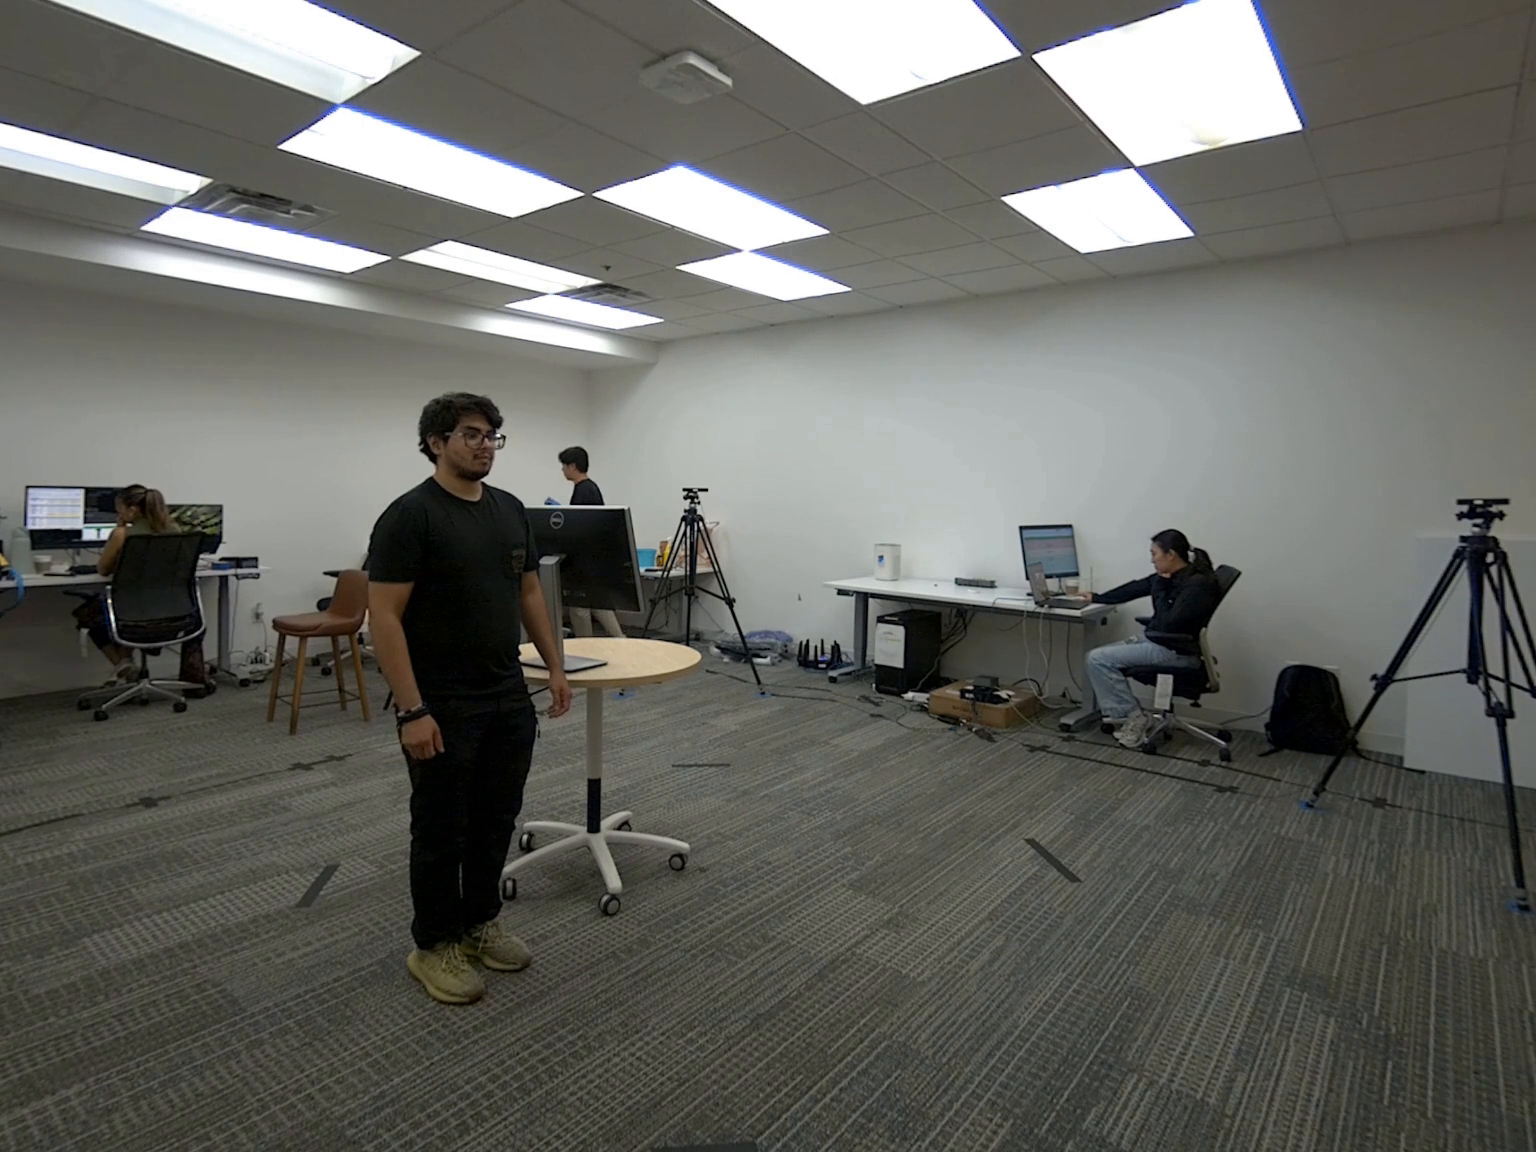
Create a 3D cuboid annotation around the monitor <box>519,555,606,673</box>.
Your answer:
[{"bbox_3d":[-0.720,0.037,2.873,0.582,0.549,0.206,3,10,30],"label":"monitor"}]
